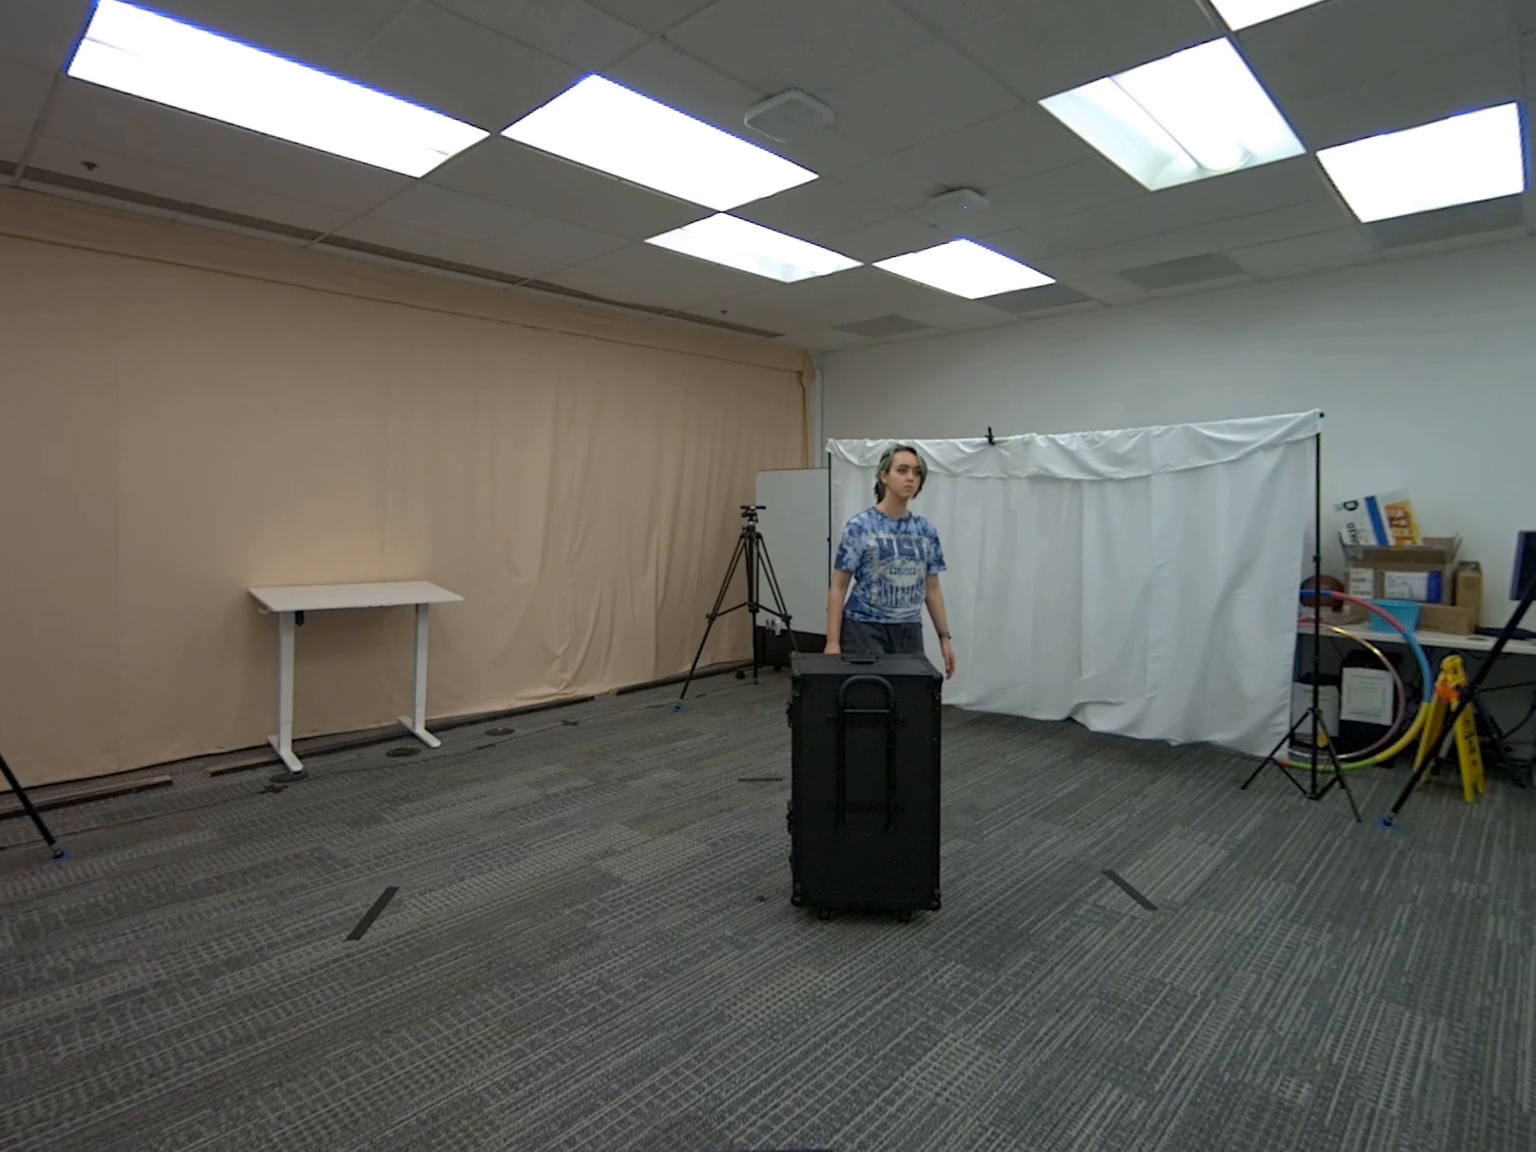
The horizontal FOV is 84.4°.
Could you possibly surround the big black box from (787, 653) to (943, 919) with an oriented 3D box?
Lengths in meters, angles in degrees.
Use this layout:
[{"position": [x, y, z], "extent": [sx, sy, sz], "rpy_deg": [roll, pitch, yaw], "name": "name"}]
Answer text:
[{"position": [0.329, 0.726, 2.912], "extent": [0.523, 0.859, 0.396], "rpy_deg": [0, 5, 3], "name": "big black box"}]
